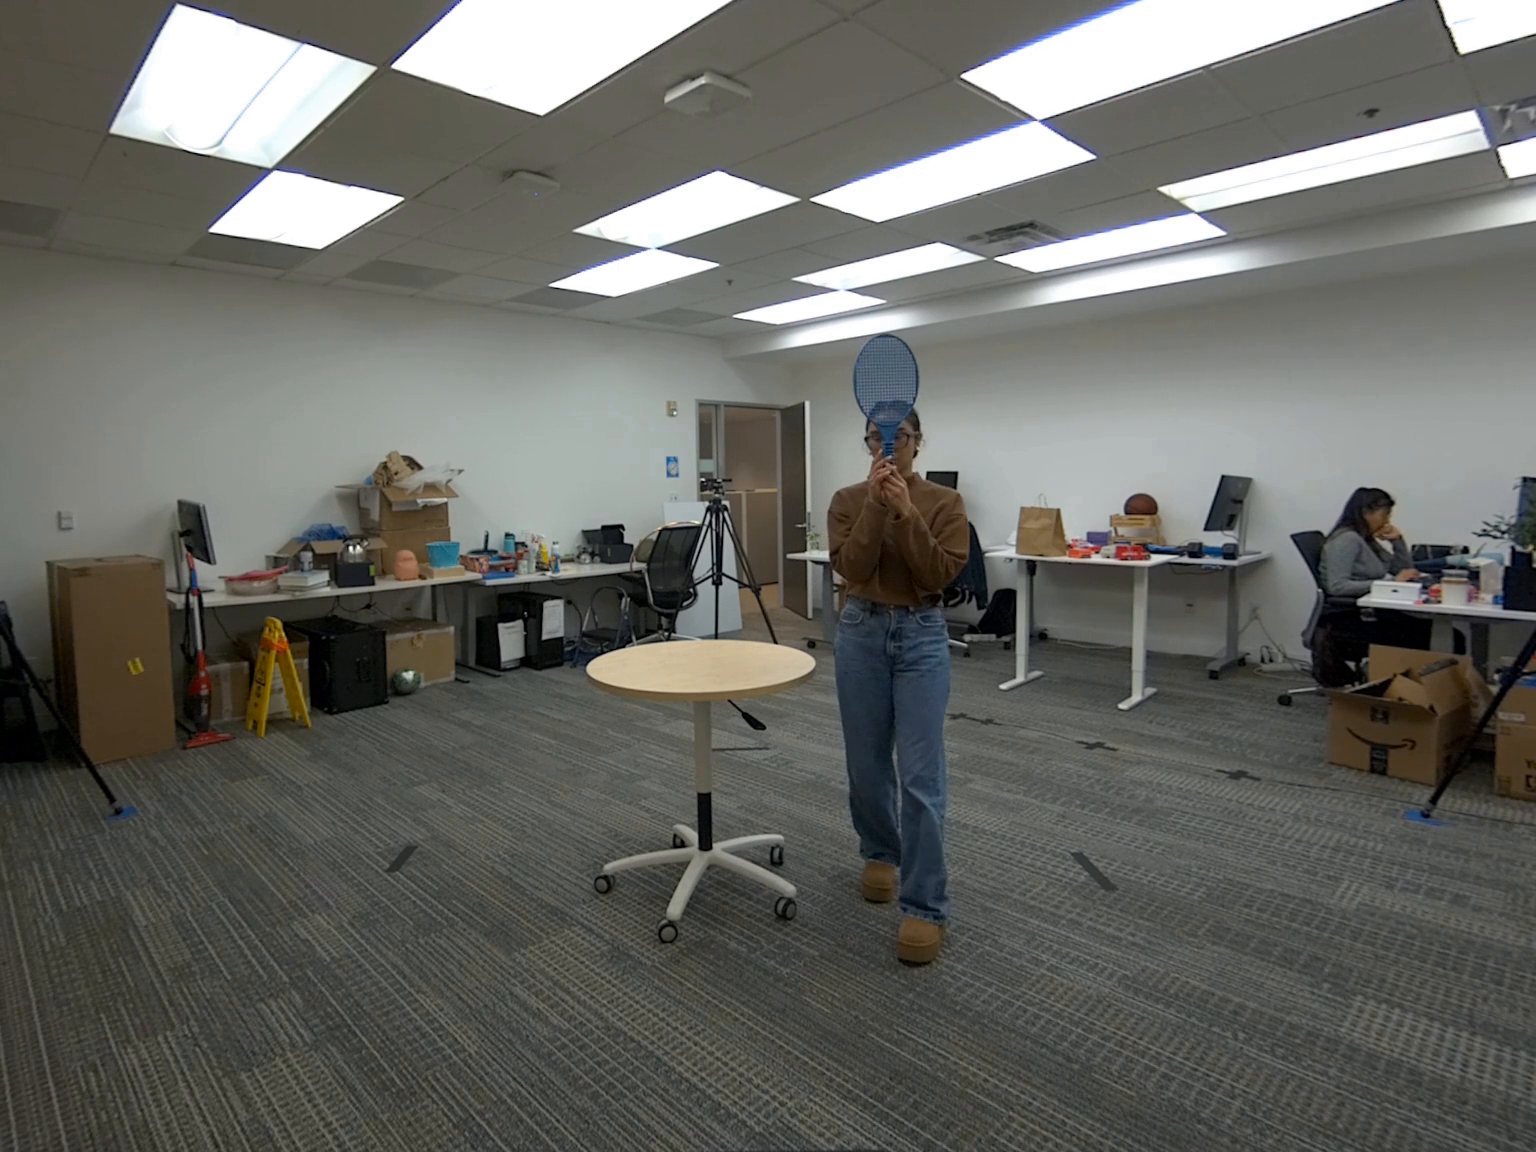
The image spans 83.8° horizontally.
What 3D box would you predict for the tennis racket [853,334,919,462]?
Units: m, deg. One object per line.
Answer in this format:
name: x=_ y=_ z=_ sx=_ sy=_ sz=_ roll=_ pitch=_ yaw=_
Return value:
tennis racket: x=0.351 y=-0.501 z=2.531 sx=0.211 sy=0.428 sz=0.032 roll=-10 pitch=12 yaw=-18
